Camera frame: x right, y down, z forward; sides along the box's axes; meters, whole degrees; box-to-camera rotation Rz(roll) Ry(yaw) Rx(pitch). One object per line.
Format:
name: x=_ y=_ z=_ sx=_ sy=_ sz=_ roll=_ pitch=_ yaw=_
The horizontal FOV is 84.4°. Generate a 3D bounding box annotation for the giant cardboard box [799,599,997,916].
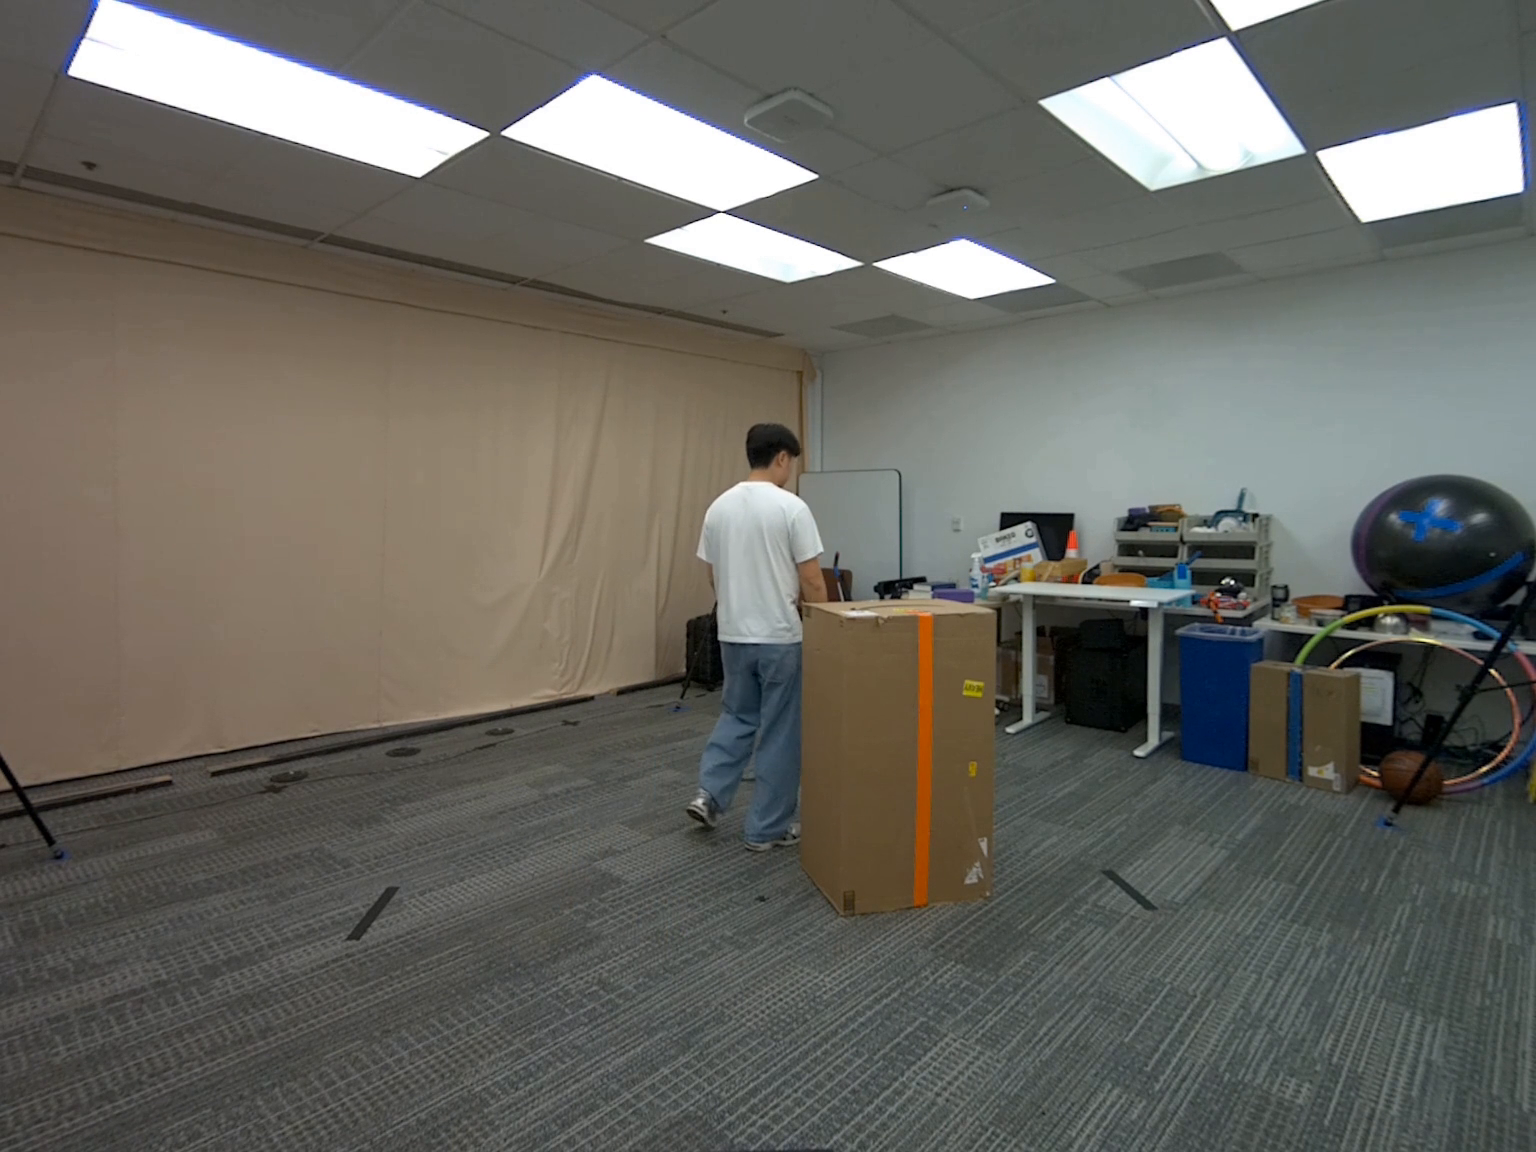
giant cardboard box: x=0.472 y=0.623 z=3.092 sx=0.567 sy=1.024 sz=0.434 roll=-1 pitch=3 yaw=-17
